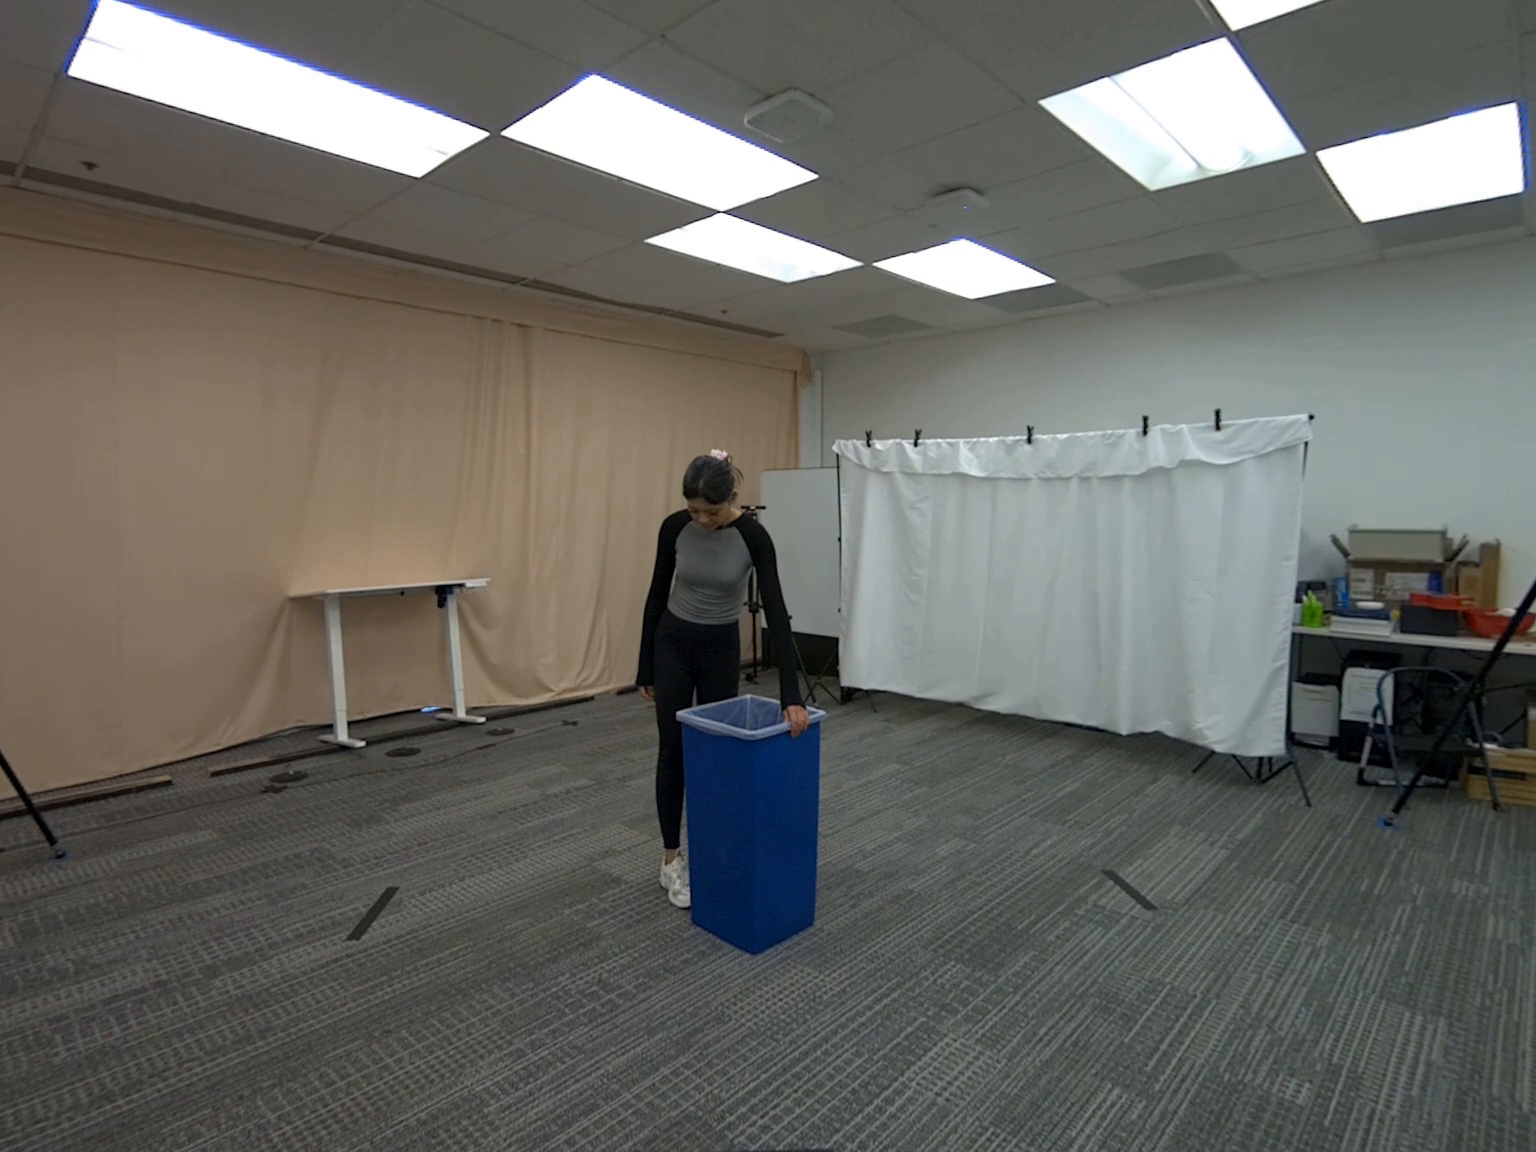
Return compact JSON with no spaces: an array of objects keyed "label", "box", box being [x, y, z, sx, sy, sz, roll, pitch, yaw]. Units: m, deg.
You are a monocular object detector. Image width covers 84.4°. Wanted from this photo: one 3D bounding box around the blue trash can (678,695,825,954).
[{"label":"blue trash can","box":[-0.050,0.804,2.784,0.391,0.712,0.362,3,5,44]}]
